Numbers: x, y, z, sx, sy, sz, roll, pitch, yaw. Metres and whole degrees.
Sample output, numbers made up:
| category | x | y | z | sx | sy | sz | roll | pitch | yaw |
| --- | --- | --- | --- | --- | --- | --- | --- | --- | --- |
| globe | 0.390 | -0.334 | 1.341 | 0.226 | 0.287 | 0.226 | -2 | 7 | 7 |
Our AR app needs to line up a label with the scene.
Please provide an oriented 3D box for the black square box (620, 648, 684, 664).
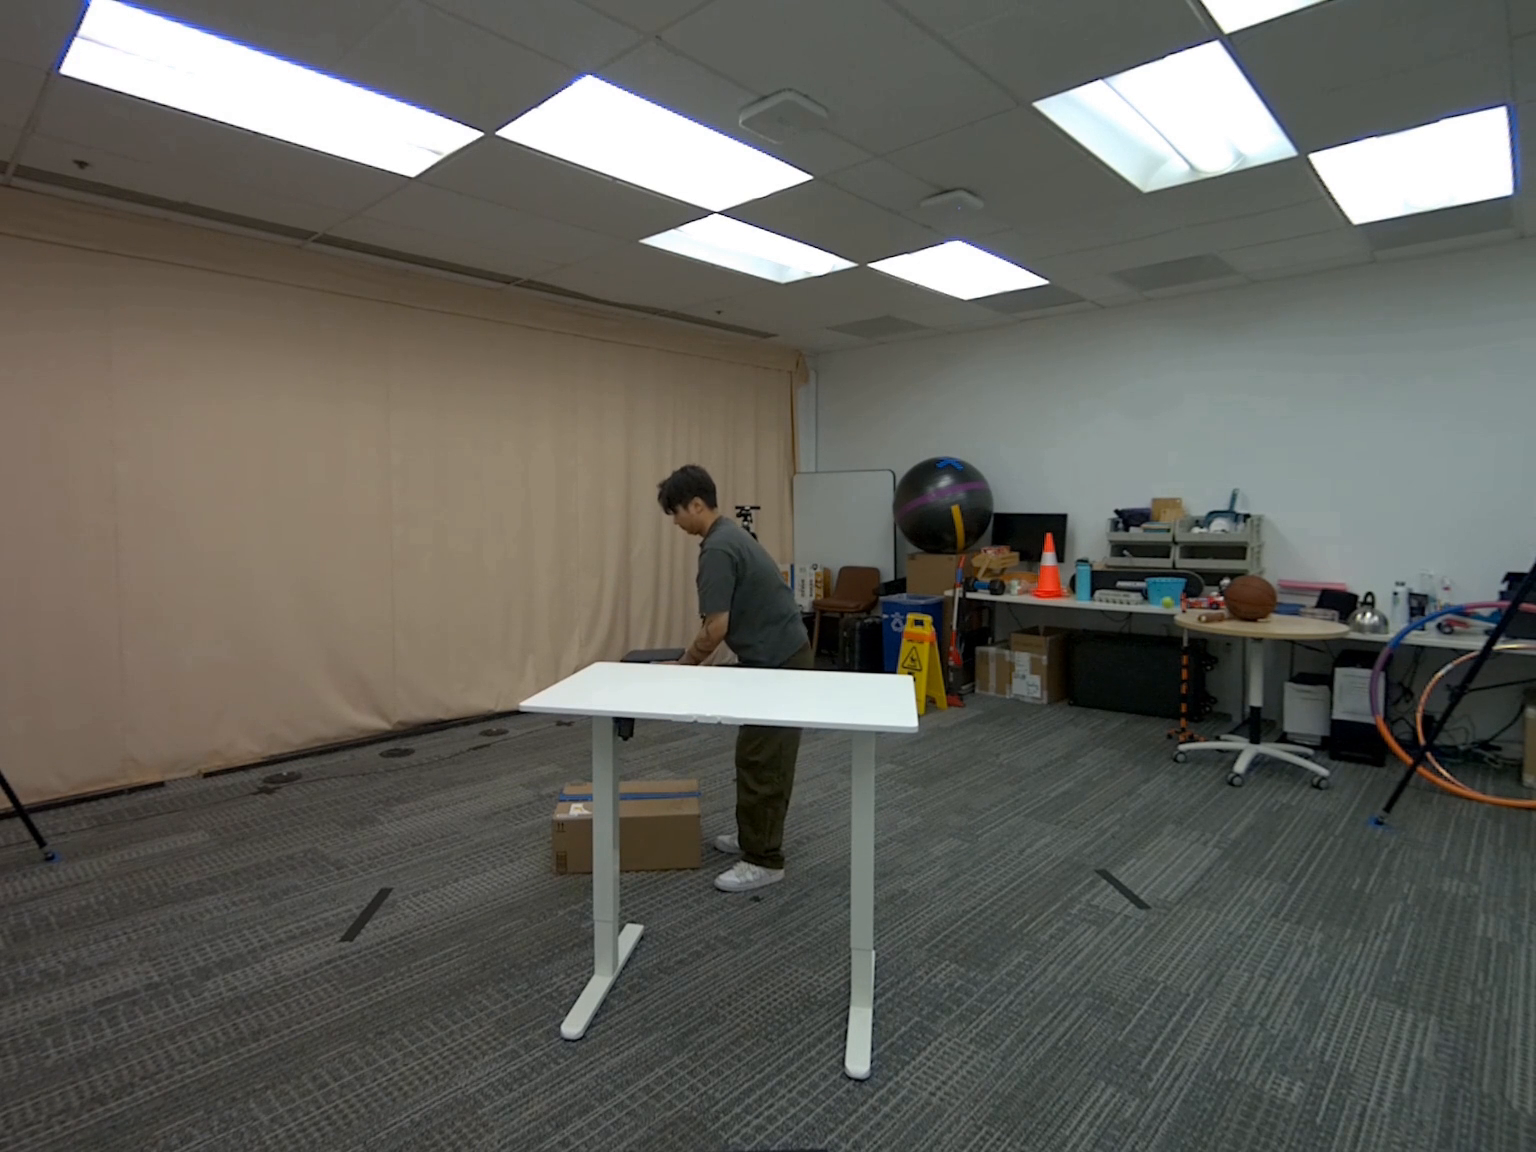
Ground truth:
| category | x | y | z | sx | sy | sz | roll | pitch | yaw |
| --- | --- | --- | --- | --- | --- | --- | --- | --- | --- |
| black square box | -0.458 | 0.387 | 3.359 | 0.230 | 0.155 | 0.215 | -2 | 3 | 8 |
